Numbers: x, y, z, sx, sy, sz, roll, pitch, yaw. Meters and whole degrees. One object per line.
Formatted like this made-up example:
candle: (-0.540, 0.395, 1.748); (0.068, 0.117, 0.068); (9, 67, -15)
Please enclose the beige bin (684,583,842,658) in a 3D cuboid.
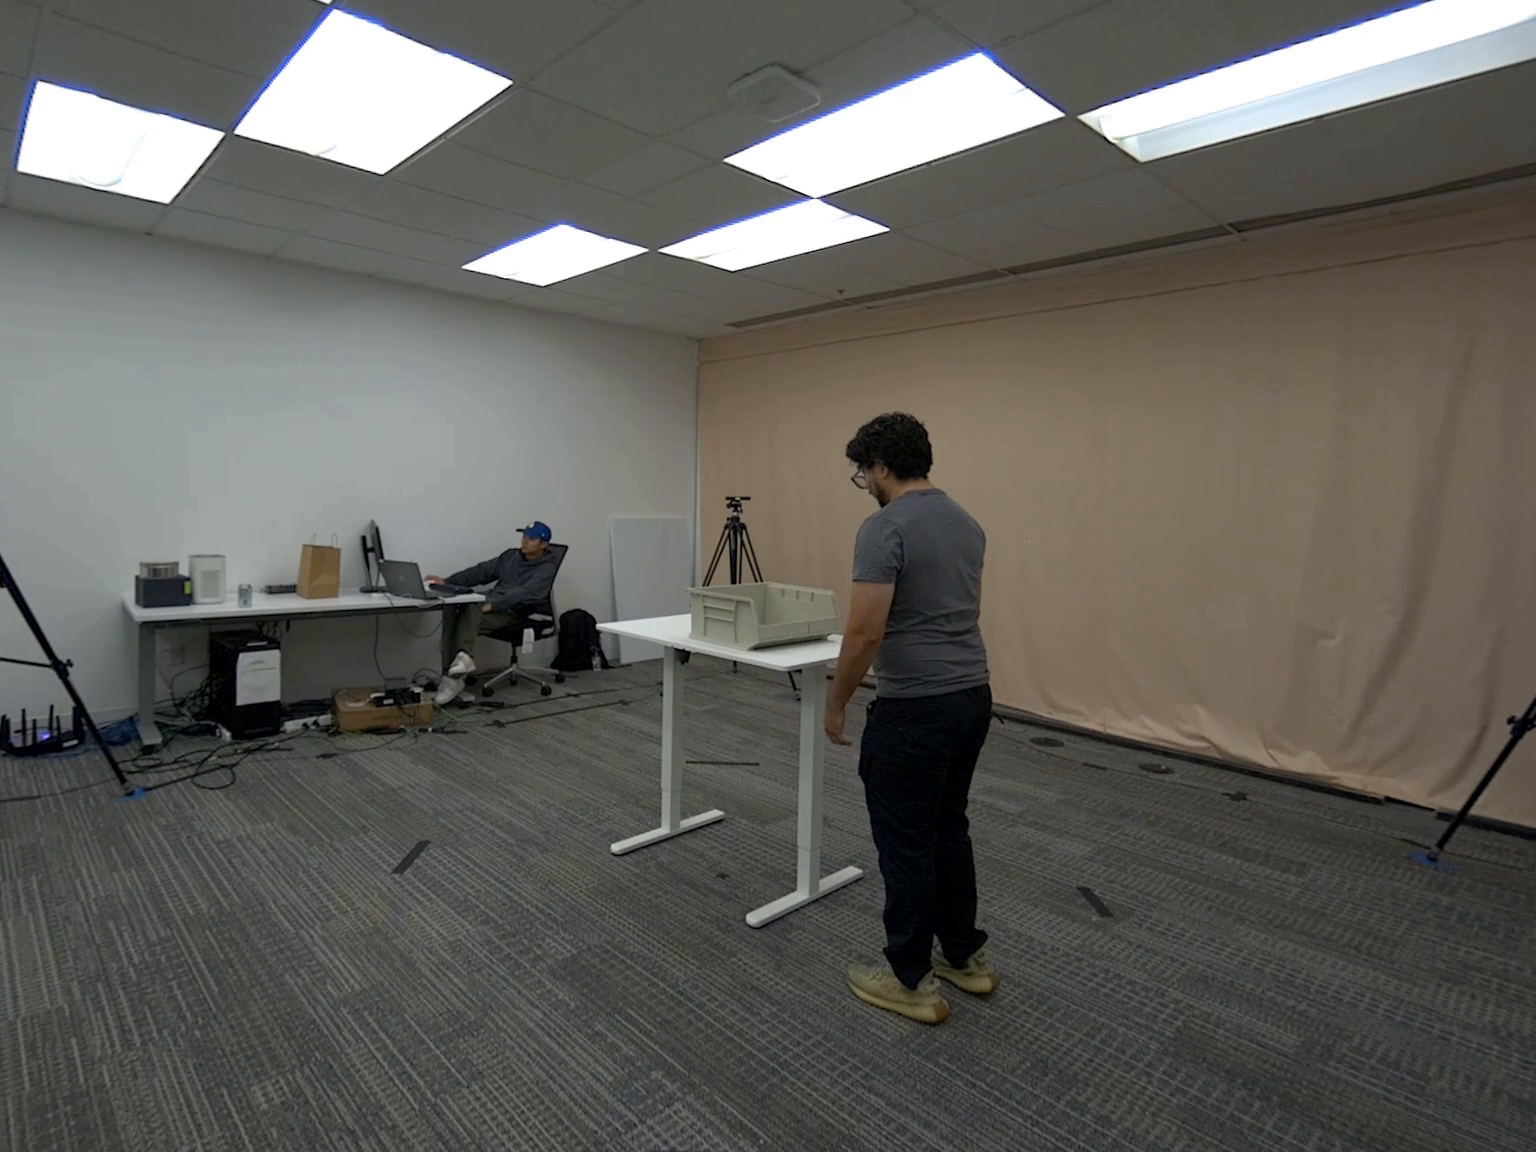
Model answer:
beige bin: (-0.019, 0.145, 3.051); (0.413, 0.188, 0.387); (-4, 6, -43)
